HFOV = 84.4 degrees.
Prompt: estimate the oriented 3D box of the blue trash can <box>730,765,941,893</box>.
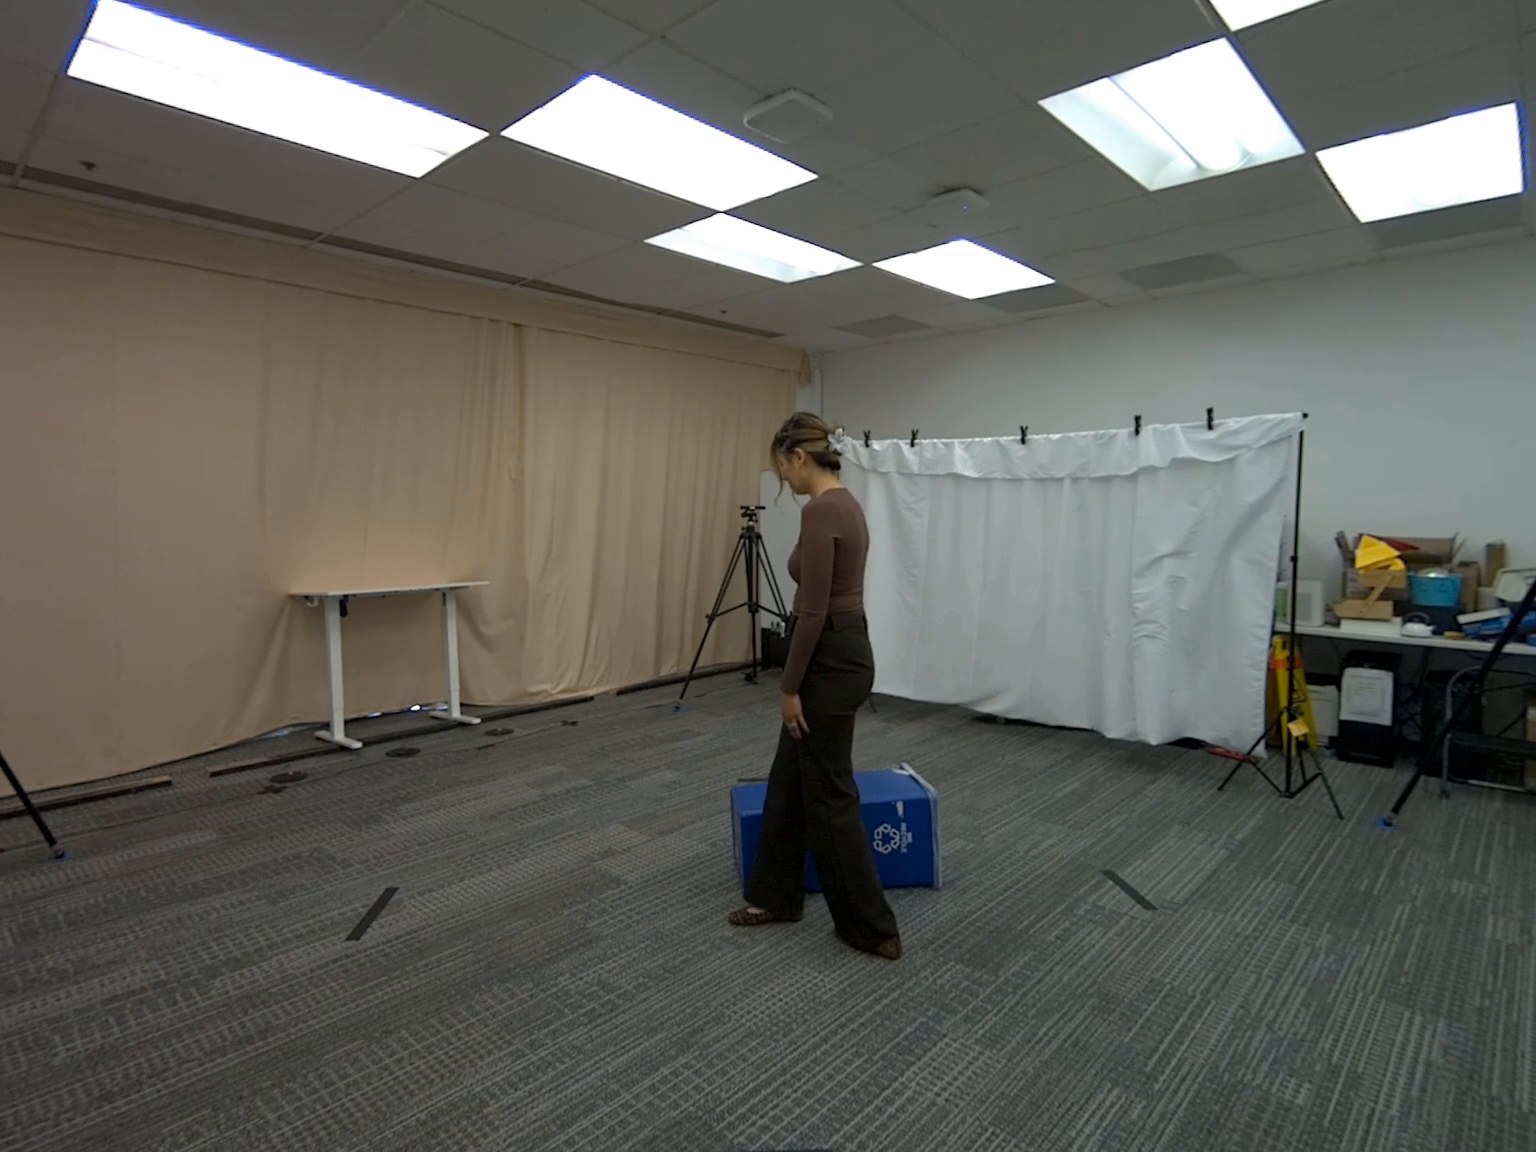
[{"bbox_3d":[0.241,0.965,3.167,0.708,0.377,0.378,-4,4,-8],"label":"blue trash can"}]
